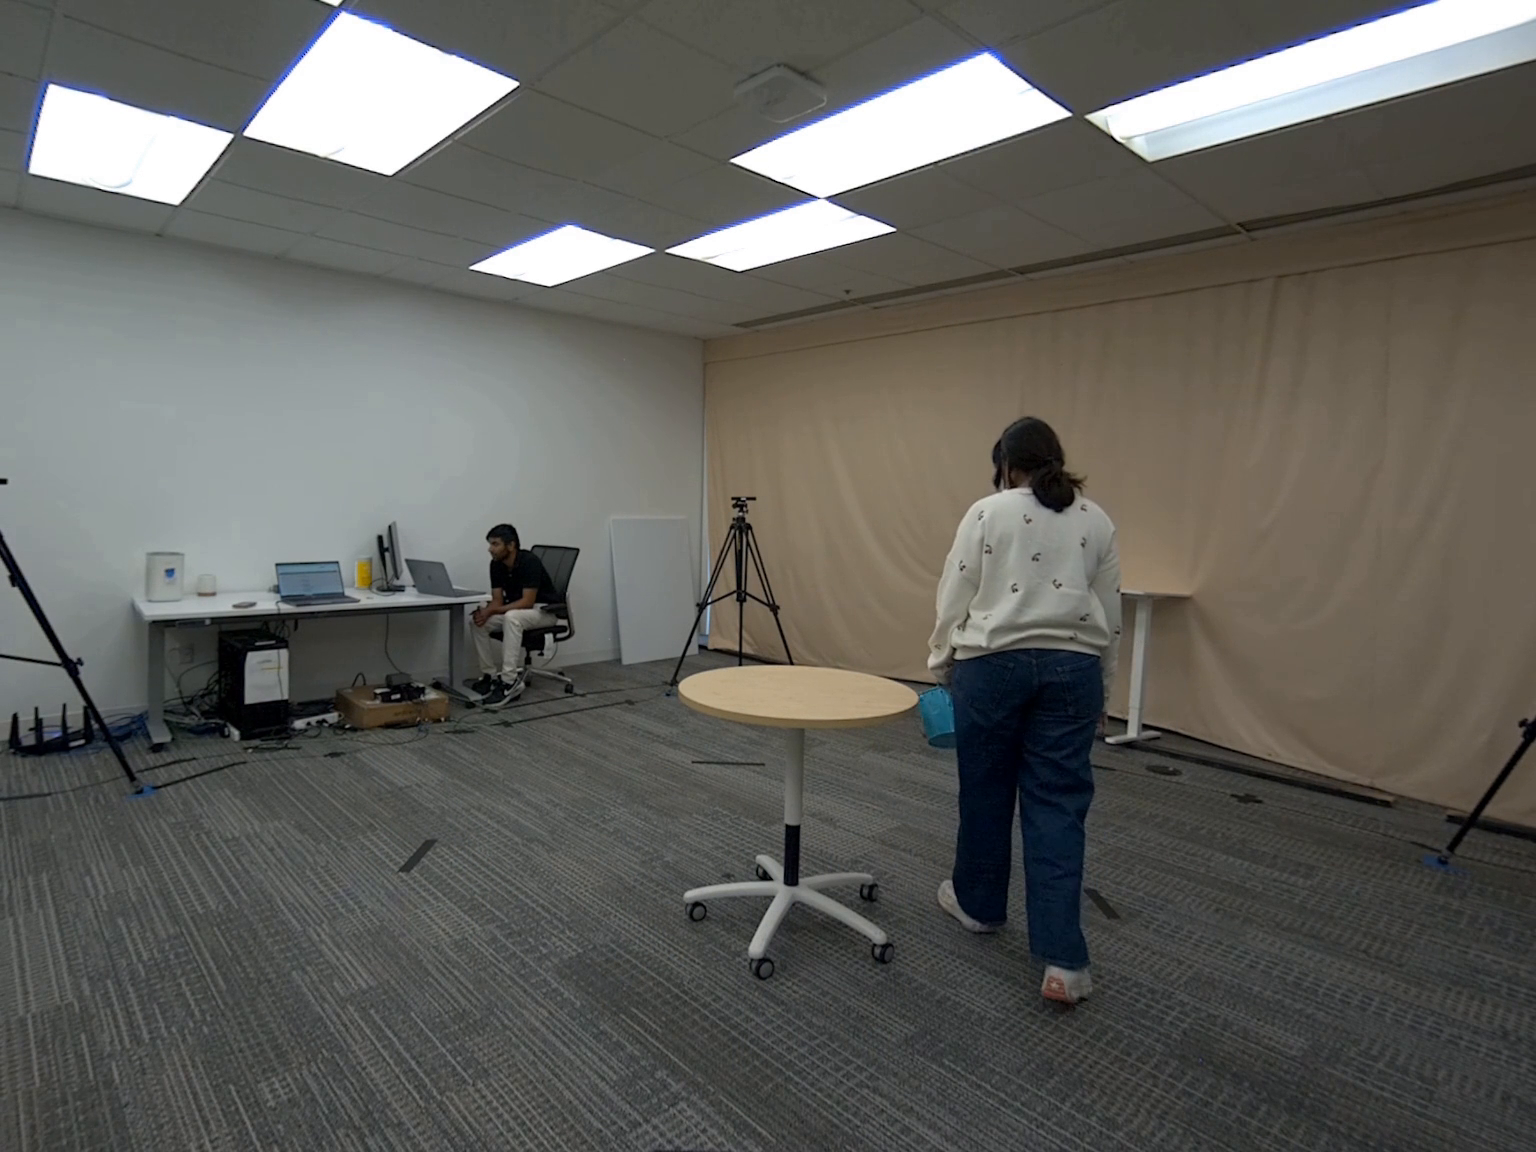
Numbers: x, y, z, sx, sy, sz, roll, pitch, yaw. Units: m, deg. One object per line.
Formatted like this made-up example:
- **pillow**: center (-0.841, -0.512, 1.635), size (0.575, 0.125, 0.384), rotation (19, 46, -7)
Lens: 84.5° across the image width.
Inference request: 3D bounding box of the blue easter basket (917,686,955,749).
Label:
- **blue easter basket**: center (0.622, 0.482, 2.886), size (0.243, 0.159, 0.239), rotation (-1, -28, -2)
